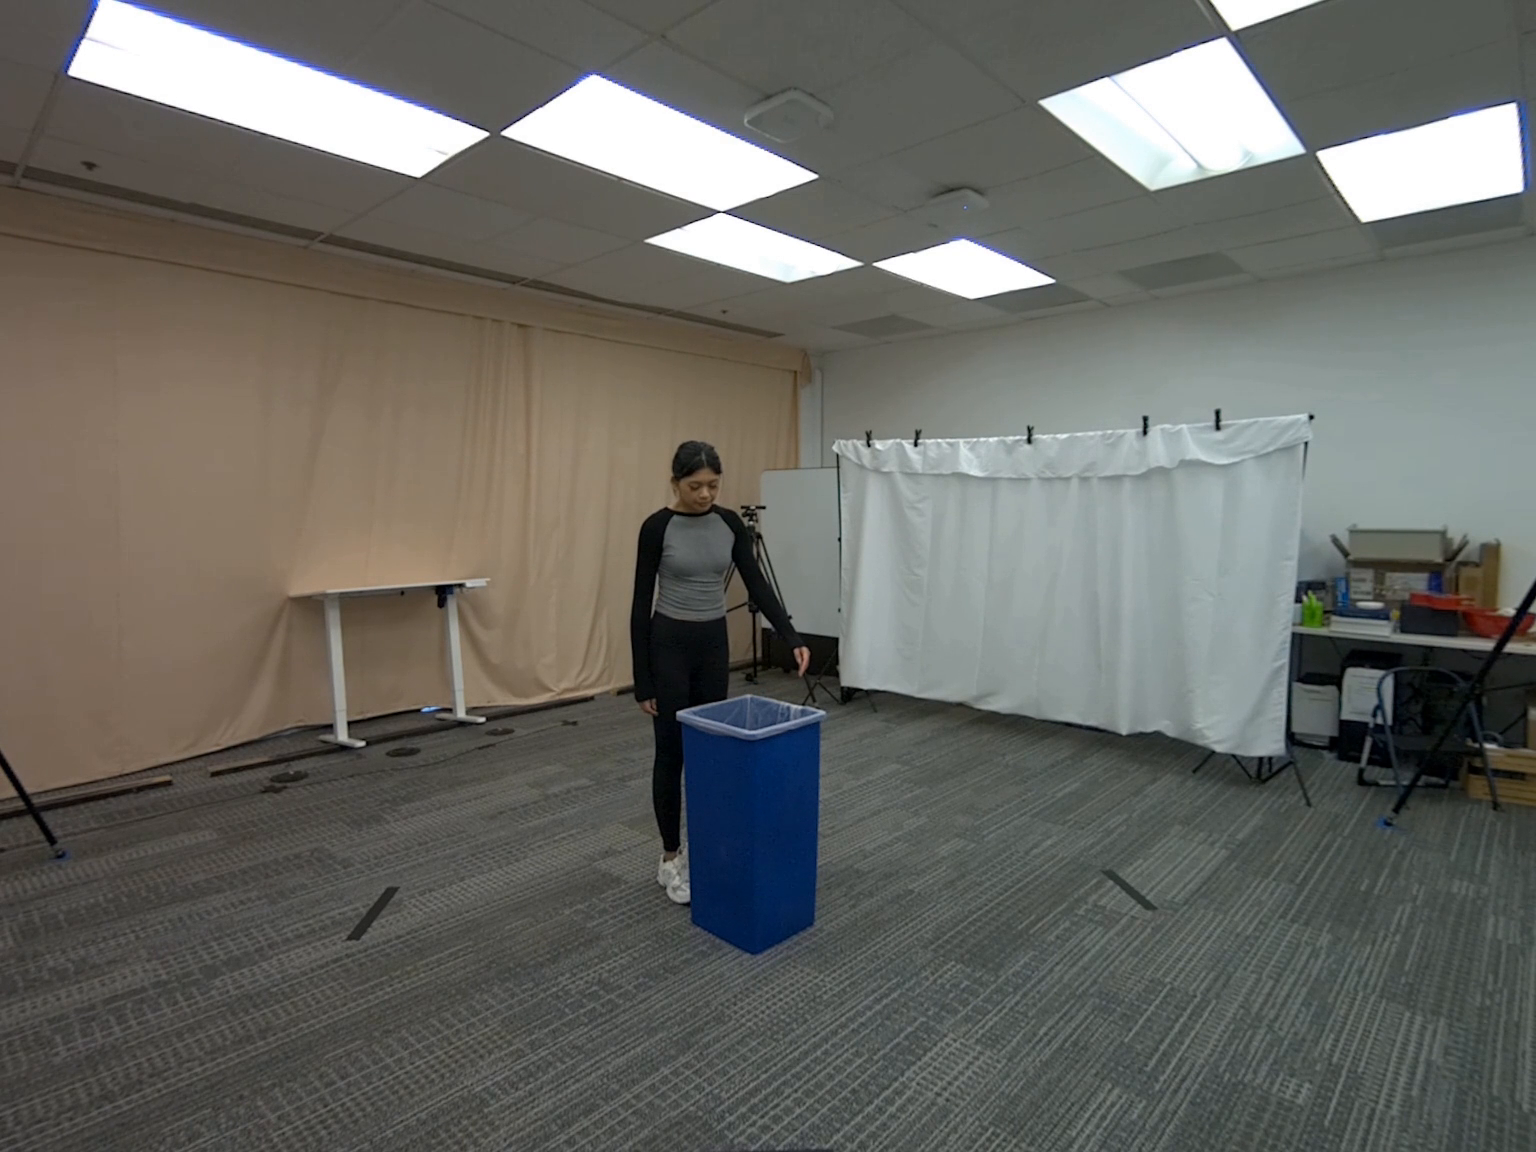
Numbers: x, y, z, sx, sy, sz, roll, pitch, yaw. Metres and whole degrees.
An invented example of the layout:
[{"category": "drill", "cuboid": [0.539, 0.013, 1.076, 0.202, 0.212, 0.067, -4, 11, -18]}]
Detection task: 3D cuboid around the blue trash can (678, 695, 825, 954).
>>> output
[{"category": "blue trash can", "cuboid": [-0.049, 0.804, 2.785, 0.390, 0.712, 0.362, 3, 4, 45]}]
